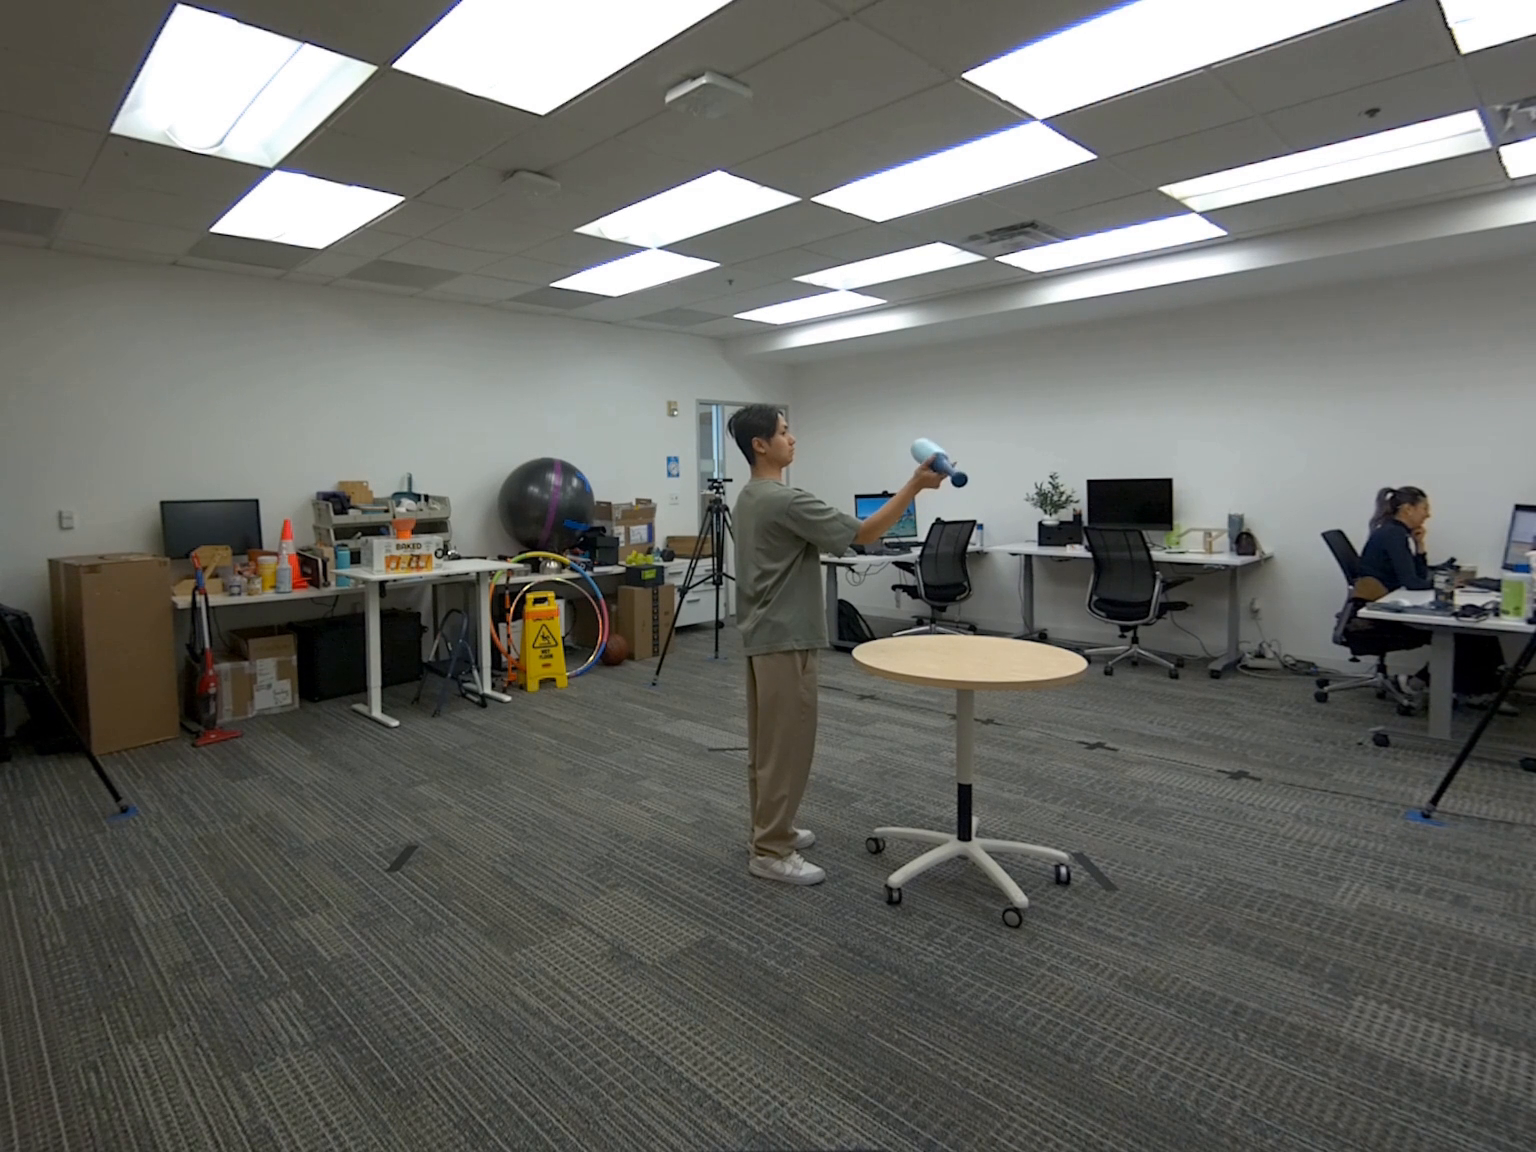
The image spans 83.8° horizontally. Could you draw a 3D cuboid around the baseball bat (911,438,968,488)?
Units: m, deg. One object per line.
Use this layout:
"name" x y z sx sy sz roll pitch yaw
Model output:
"baseball bat" 0.582 -0.371 2.844 0.089 0.087 0.552 -1 19 -3
